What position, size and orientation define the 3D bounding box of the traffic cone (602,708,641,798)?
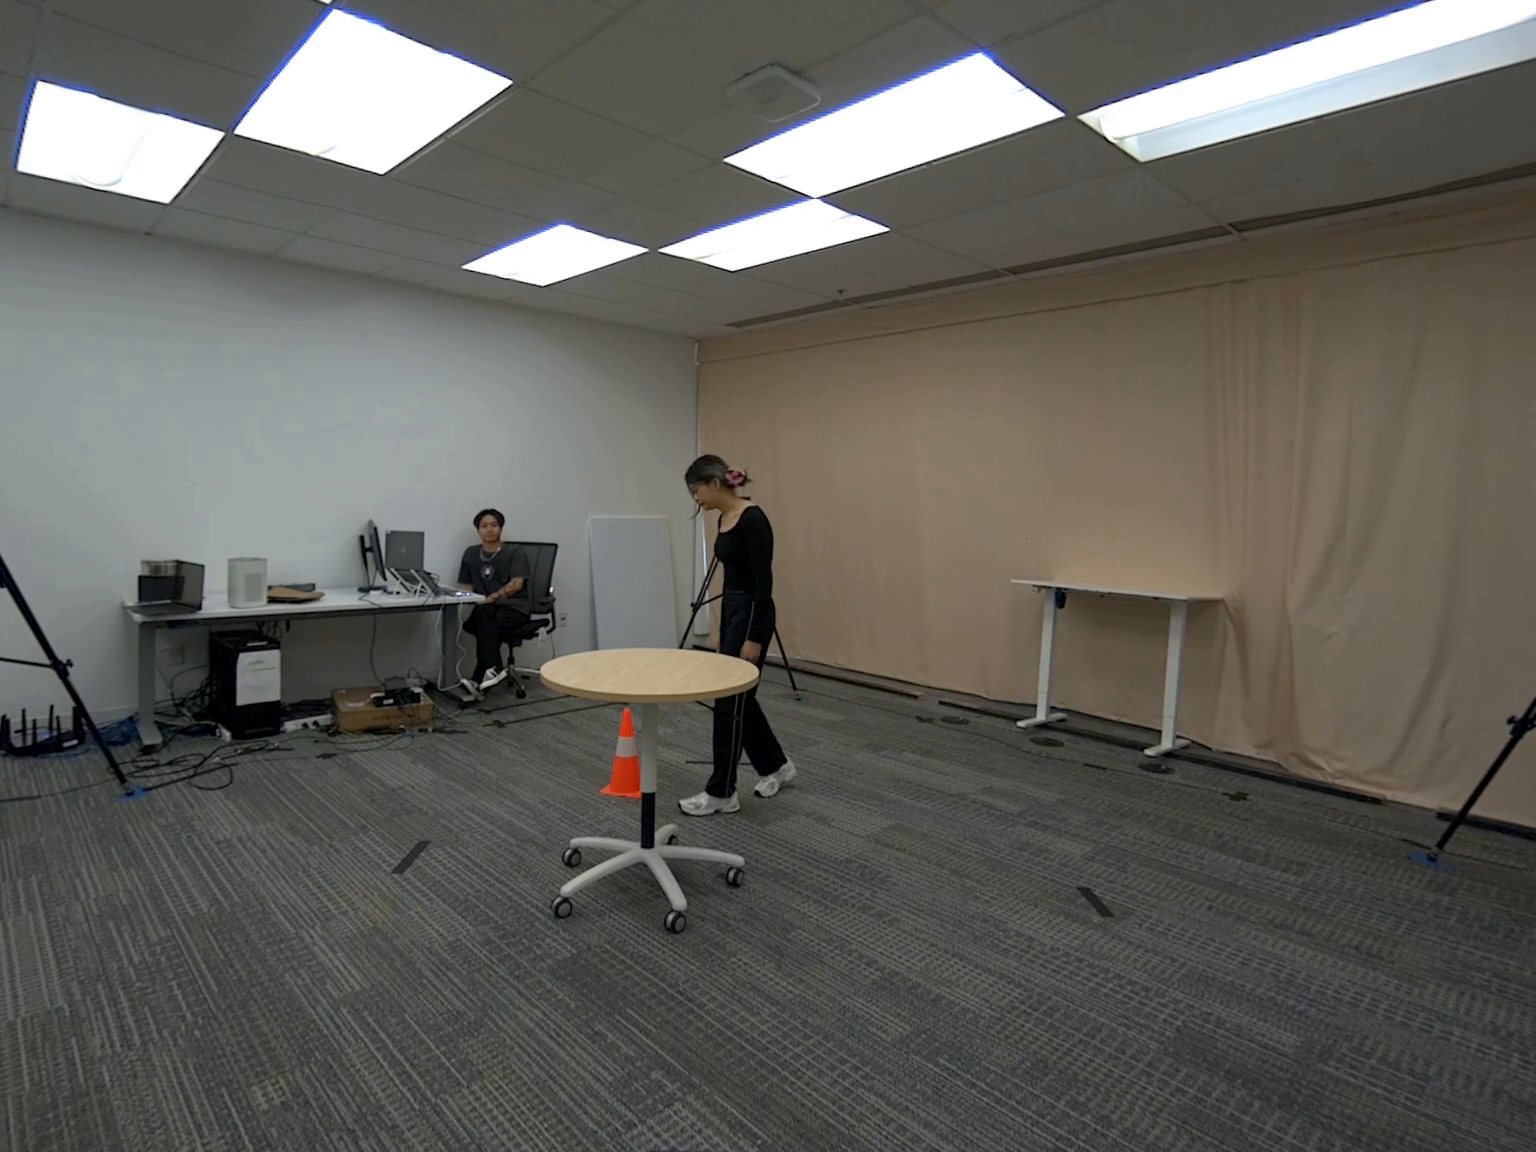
[{"bbox_3d":[-0.679,0.826,4.015,0.206,0.383,0.203,3,4,15],"label":"traffic cone"}]
